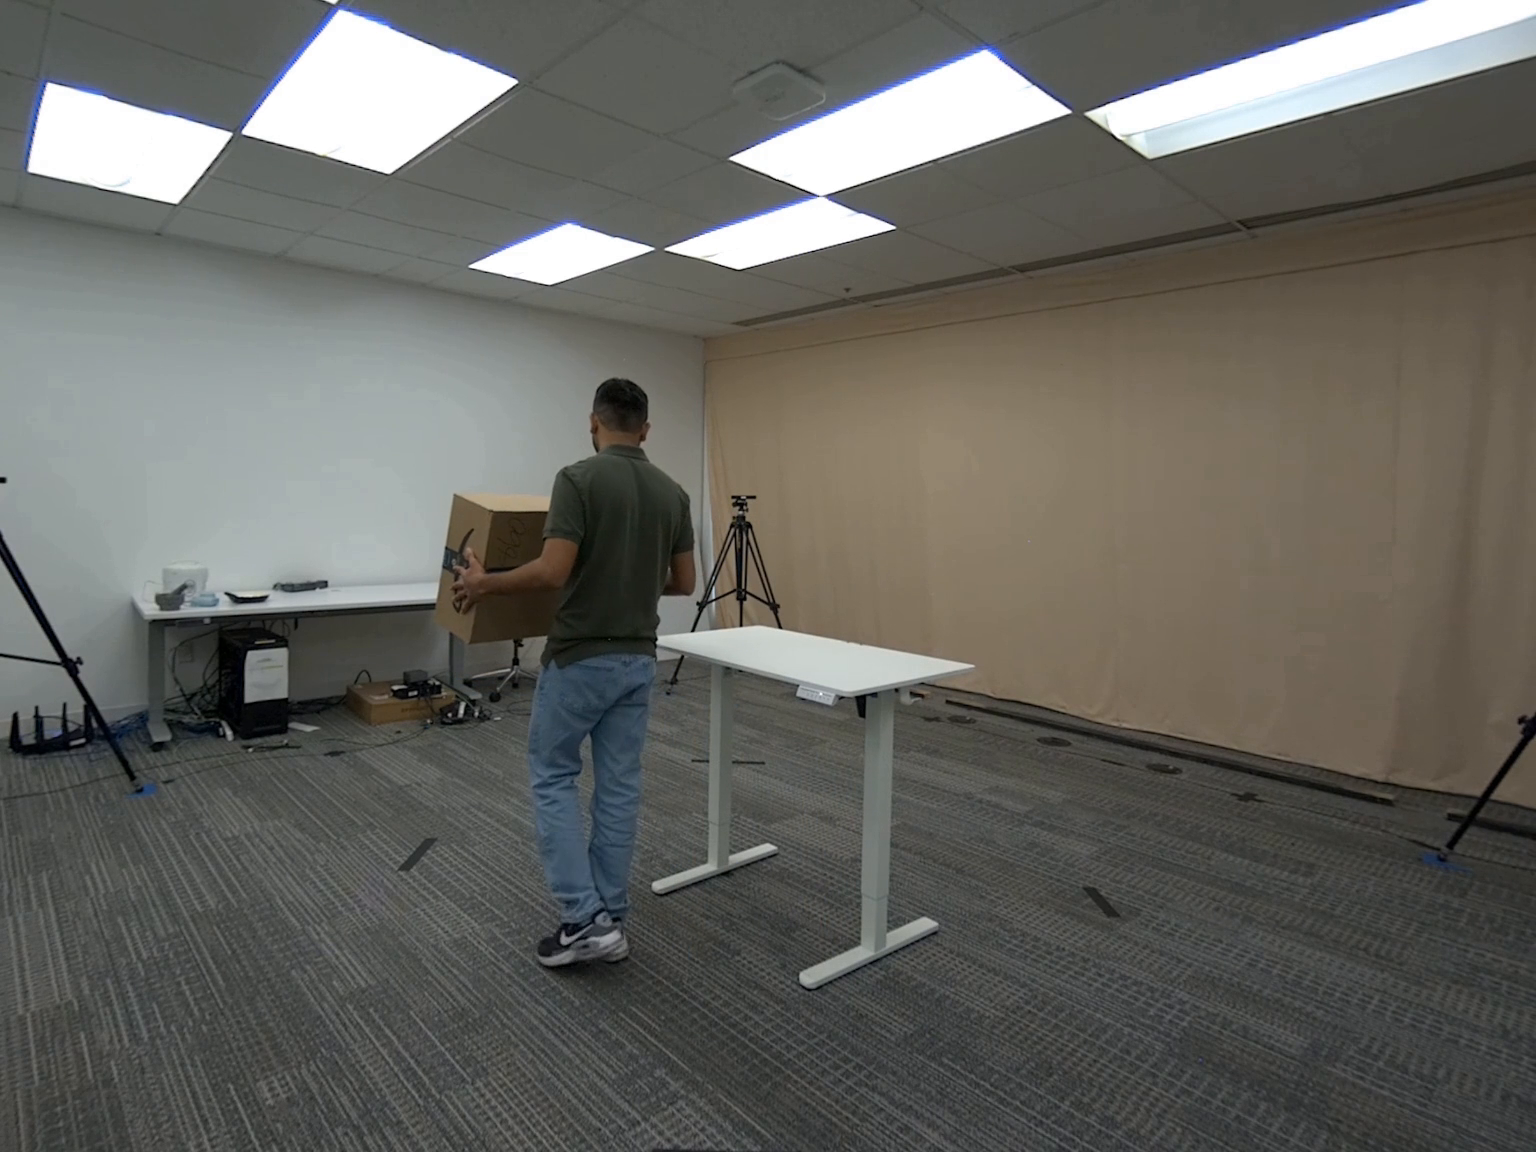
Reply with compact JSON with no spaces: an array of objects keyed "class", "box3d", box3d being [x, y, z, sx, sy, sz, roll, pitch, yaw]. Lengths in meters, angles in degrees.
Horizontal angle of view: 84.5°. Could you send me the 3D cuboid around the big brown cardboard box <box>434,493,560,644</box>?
[{"class":"big brown cardboard box","box3d":[-0.738,-0.029,2.735,0.240,0.415,0.575,20,15,39]}]
